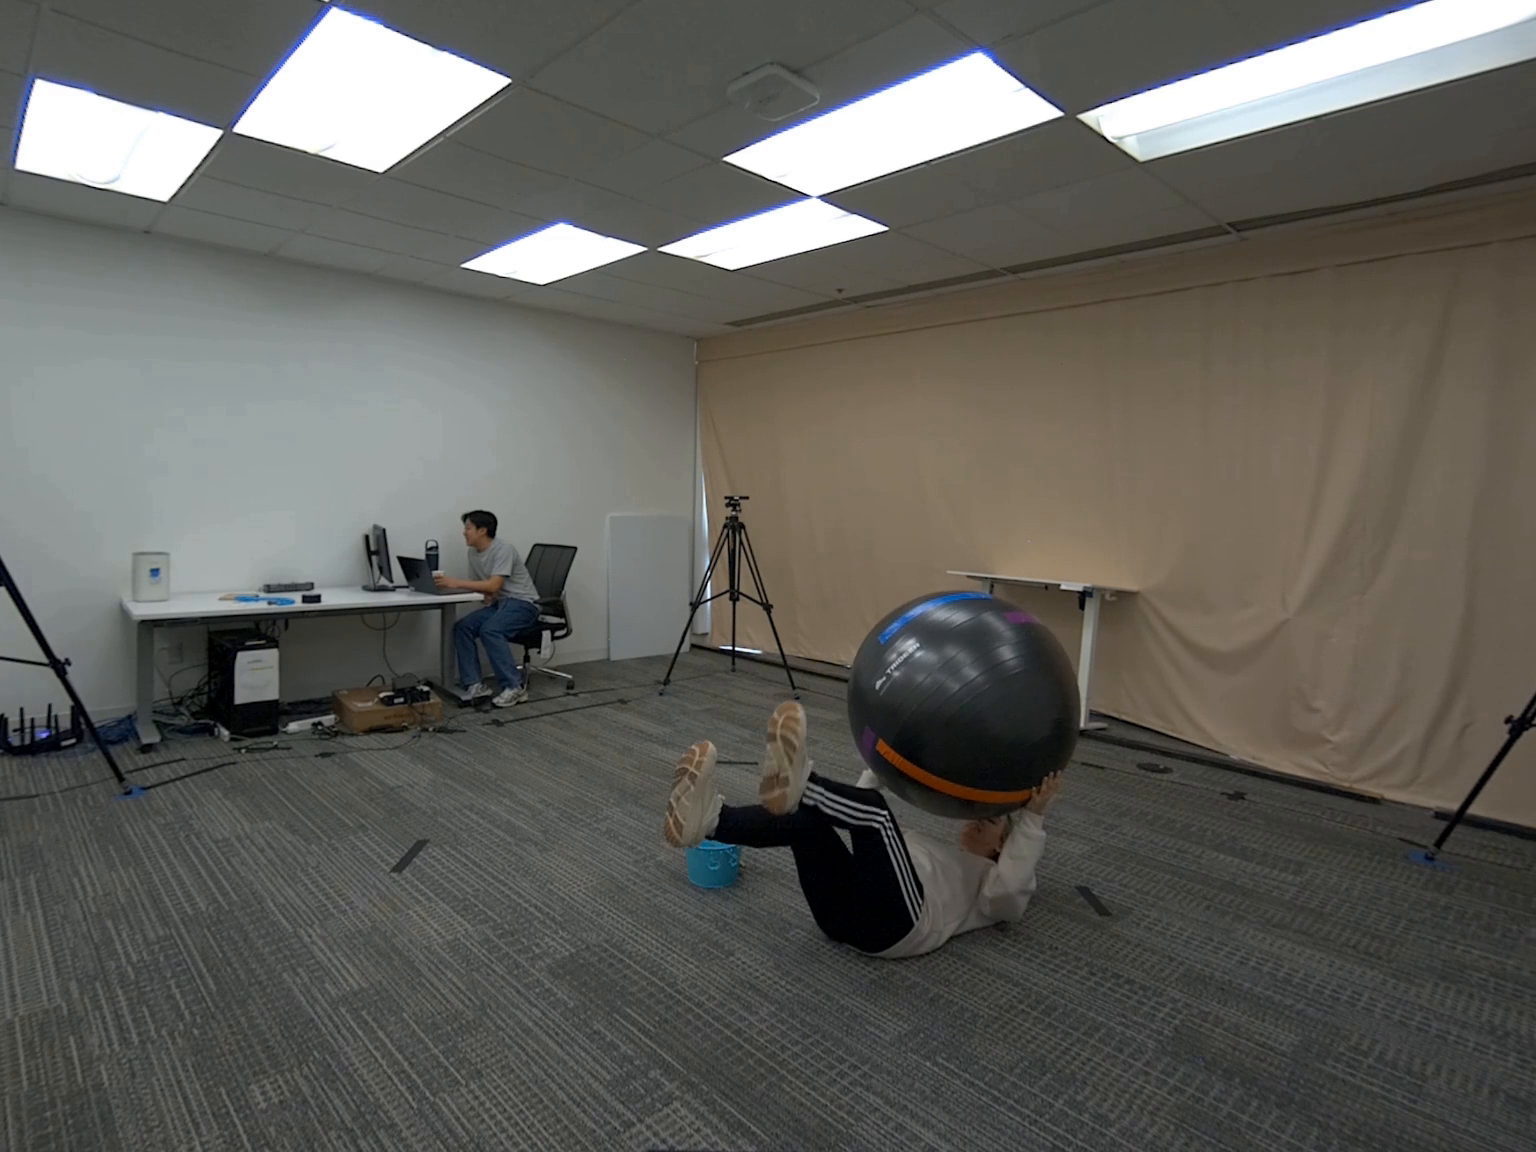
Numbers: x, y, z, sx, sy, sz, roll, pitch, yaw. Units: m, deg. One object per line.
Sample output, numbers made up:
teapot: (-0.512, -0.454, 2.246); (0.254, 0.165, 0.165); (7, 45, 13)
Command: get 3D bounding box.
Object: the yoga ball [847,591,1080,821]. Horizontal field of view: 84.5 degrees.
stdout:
yoga ball: (0.647, 0.428, 2.839); (0.757, 0.756, 0.761); (1, 4, -1)
